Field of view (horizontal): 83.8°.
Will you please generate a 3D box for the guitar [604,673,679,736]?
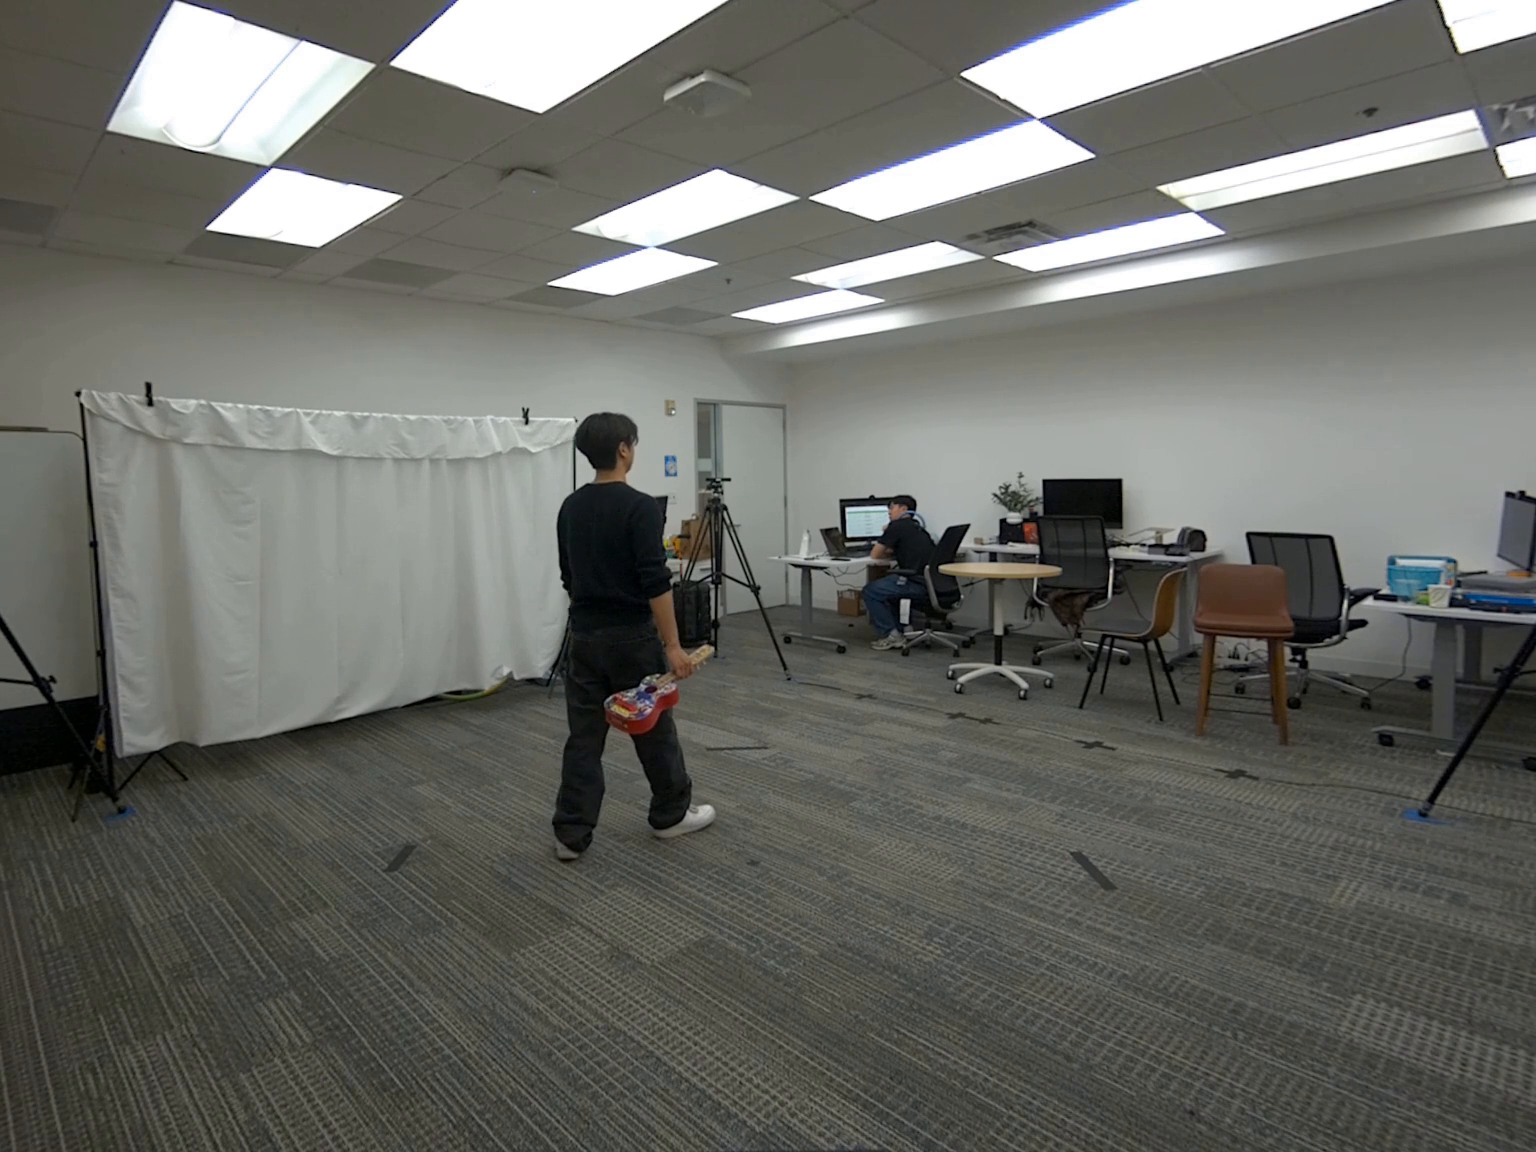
[{"bbox_3d":[-0.351,0.402,3.066,0.491,0.069,0.200,-26,33,-34],"label":"guitar"}]
